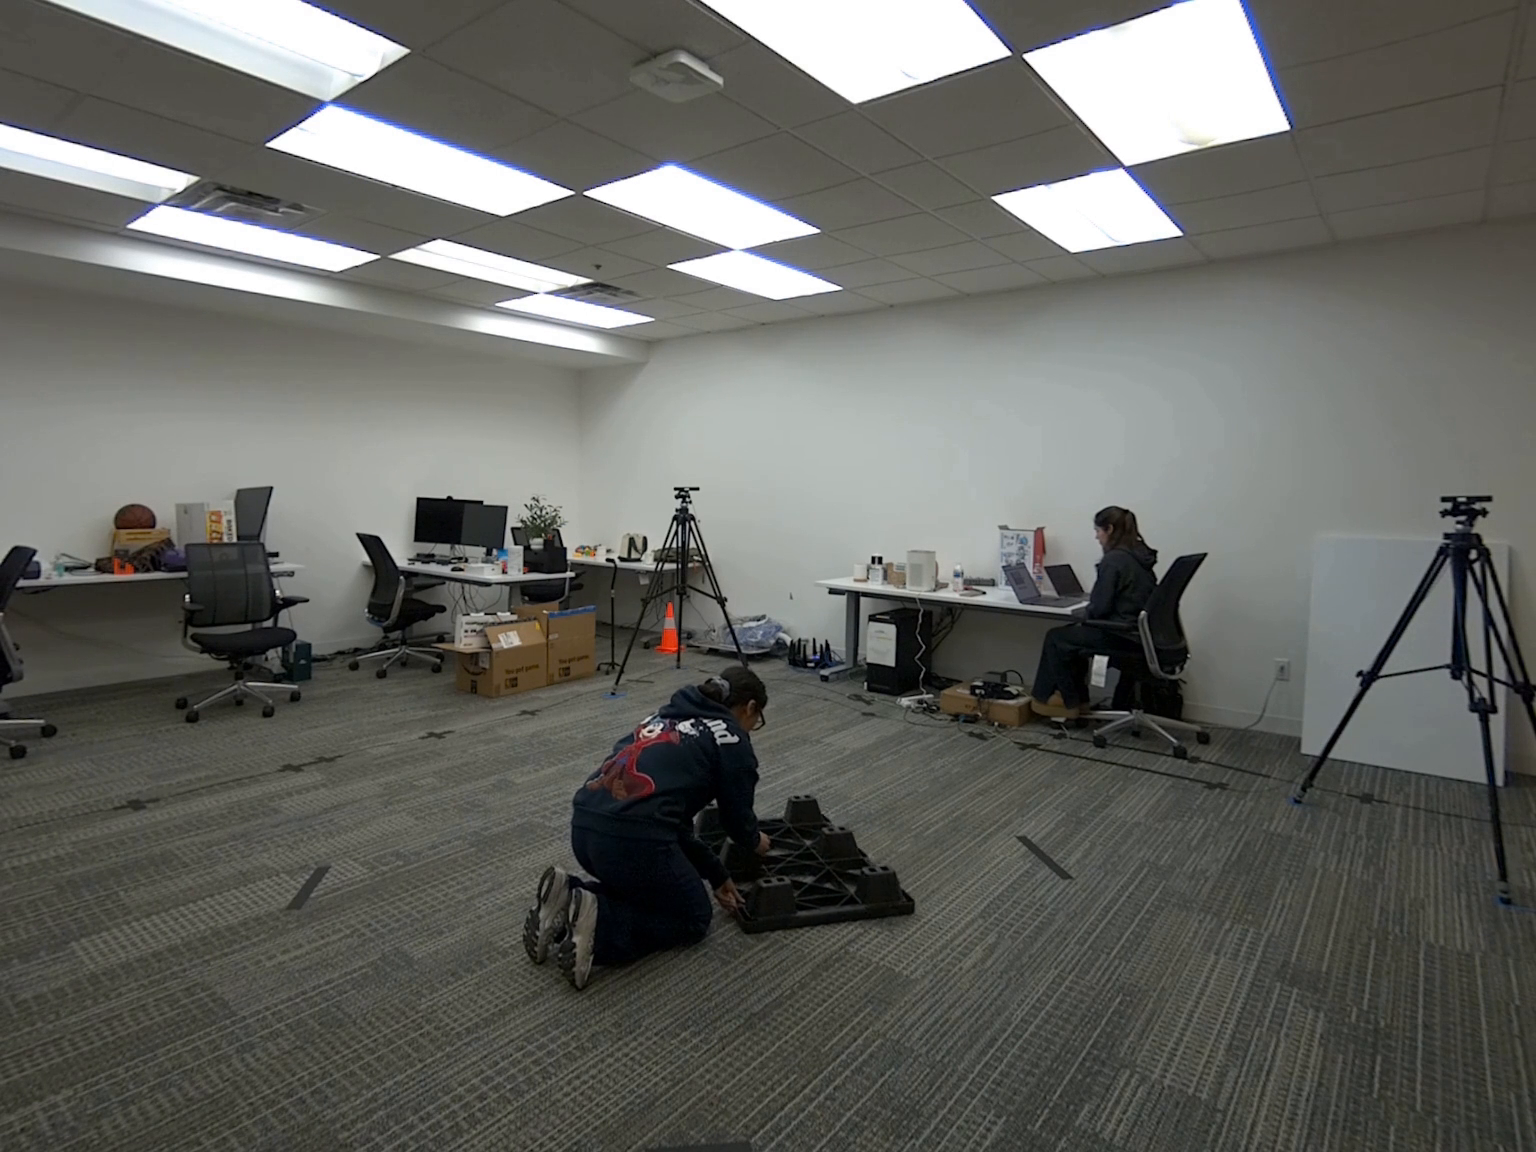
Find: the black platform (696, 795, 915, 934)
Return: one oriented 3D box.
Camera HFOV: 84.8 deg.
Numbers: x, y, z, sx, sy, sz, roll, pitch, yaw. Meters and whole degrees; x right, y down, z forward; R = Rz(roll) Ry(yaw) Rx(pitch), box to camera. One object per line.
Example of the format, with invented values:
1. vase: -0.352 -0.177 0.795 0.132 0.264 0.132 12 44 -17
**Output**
1. black platform: 0.075 1.004 3.107 0.594 0.143 0.824 -1 6 -19
